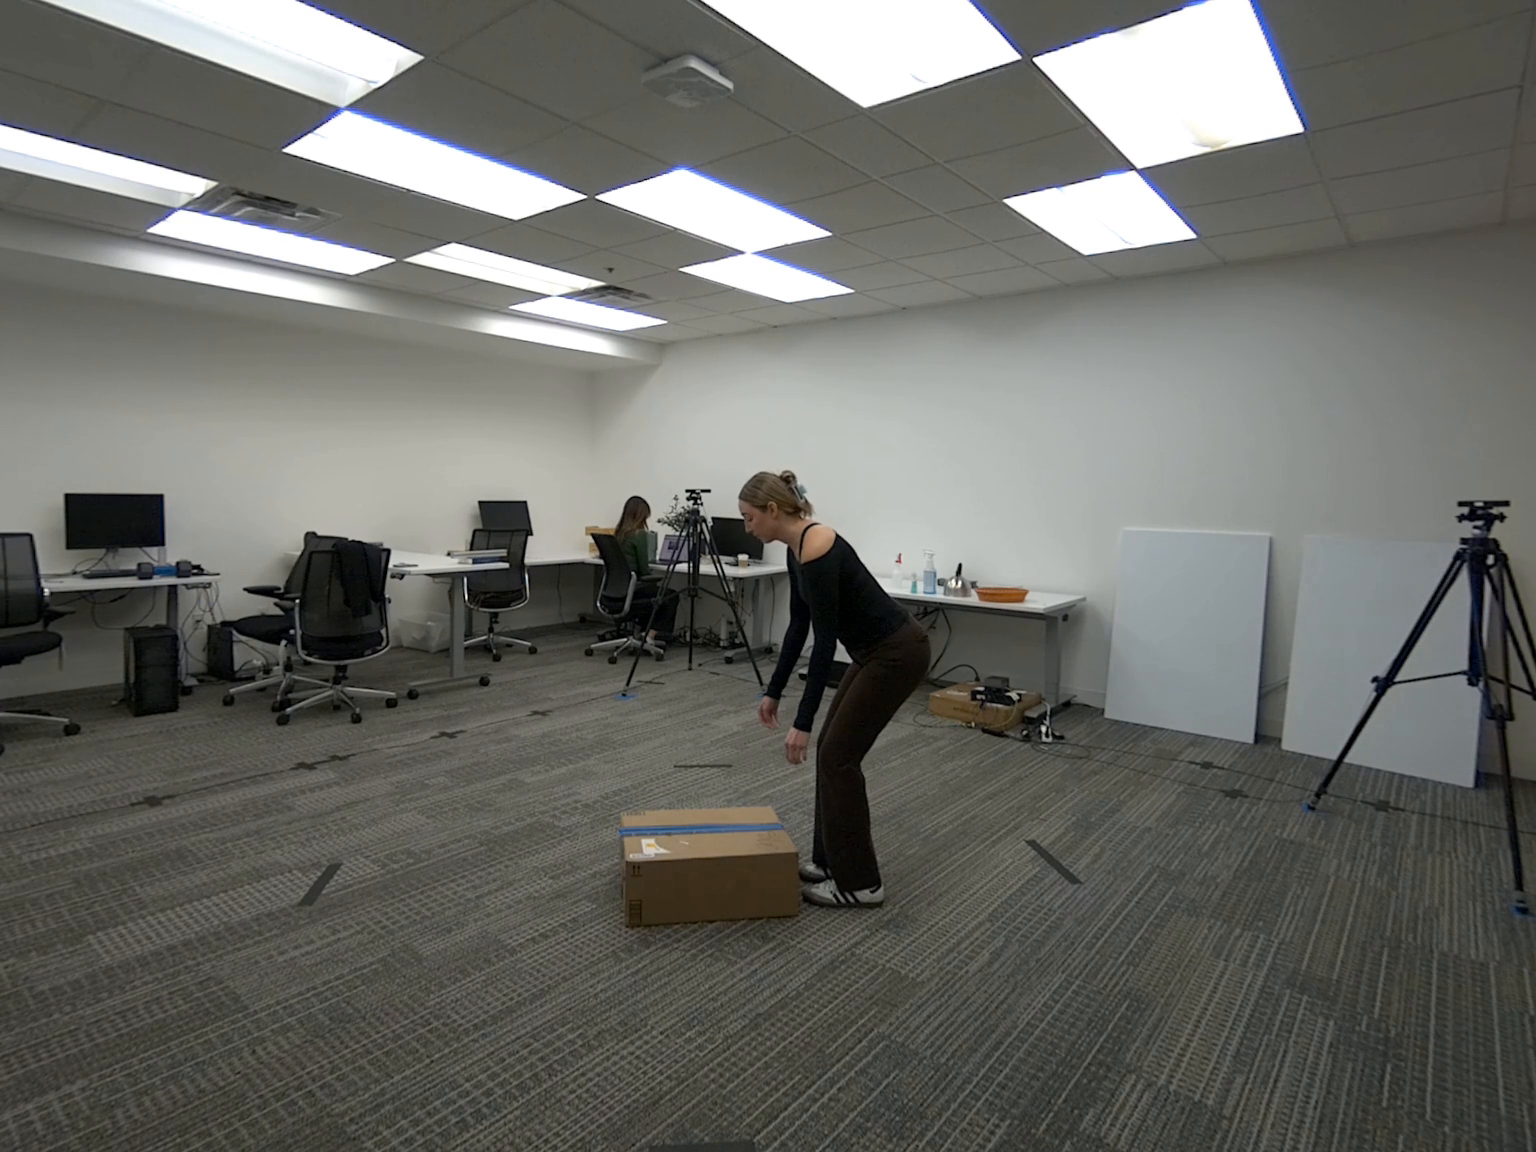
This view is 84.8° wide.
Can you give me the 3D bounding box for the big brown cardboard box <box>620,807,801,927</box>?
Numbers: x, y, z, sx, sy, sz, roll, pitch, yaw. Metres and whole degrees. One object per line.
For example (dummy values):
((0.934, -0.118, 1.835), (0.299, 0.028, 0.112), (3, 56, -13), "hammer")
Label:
((-0.233, 0.977, 2.932), (0.582, 0.232, 0.424), (1, 5, -11), "big brown cardboard box")
